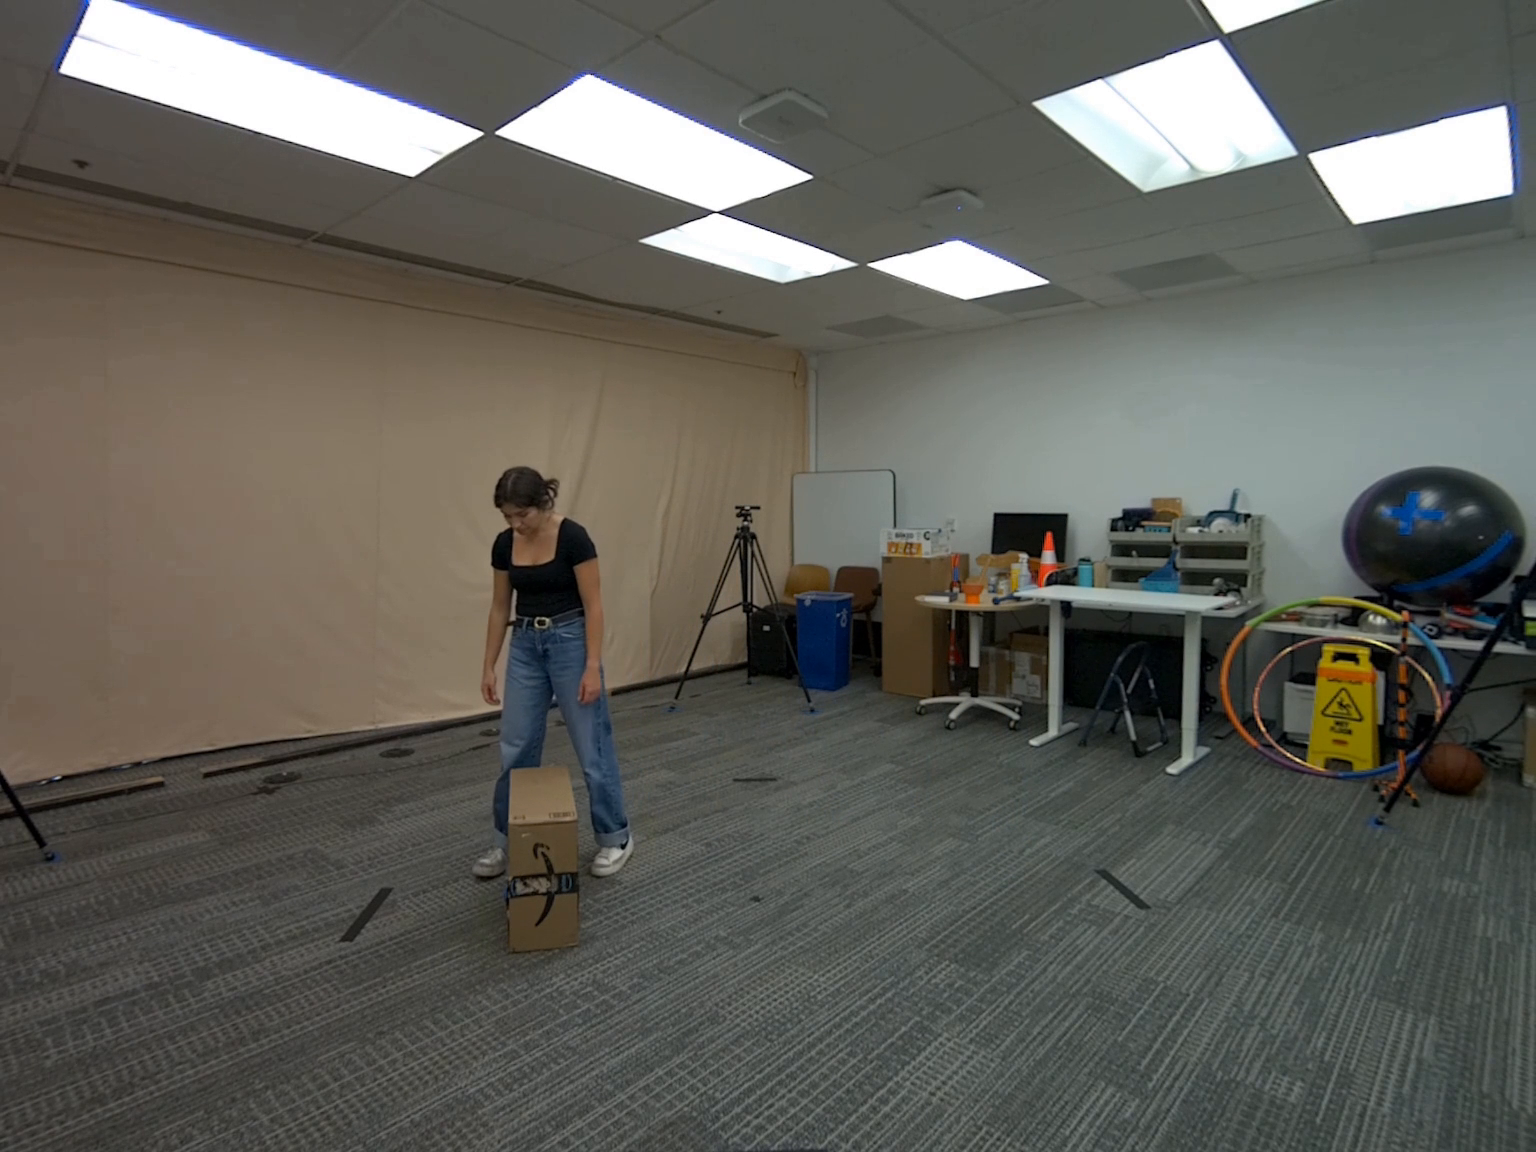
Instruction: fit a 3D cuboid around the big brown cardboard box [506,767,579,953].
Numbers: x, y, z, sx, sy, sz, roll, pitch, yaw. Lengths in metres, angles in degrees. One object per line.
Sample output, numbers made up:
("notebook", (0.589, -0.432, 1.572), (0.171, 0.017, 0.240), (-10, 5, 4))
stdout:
("big brown cardboard box", (-0.784, 0.951, 2.897), (0.230, 0.417, 0.599), (0, 3, -15))
